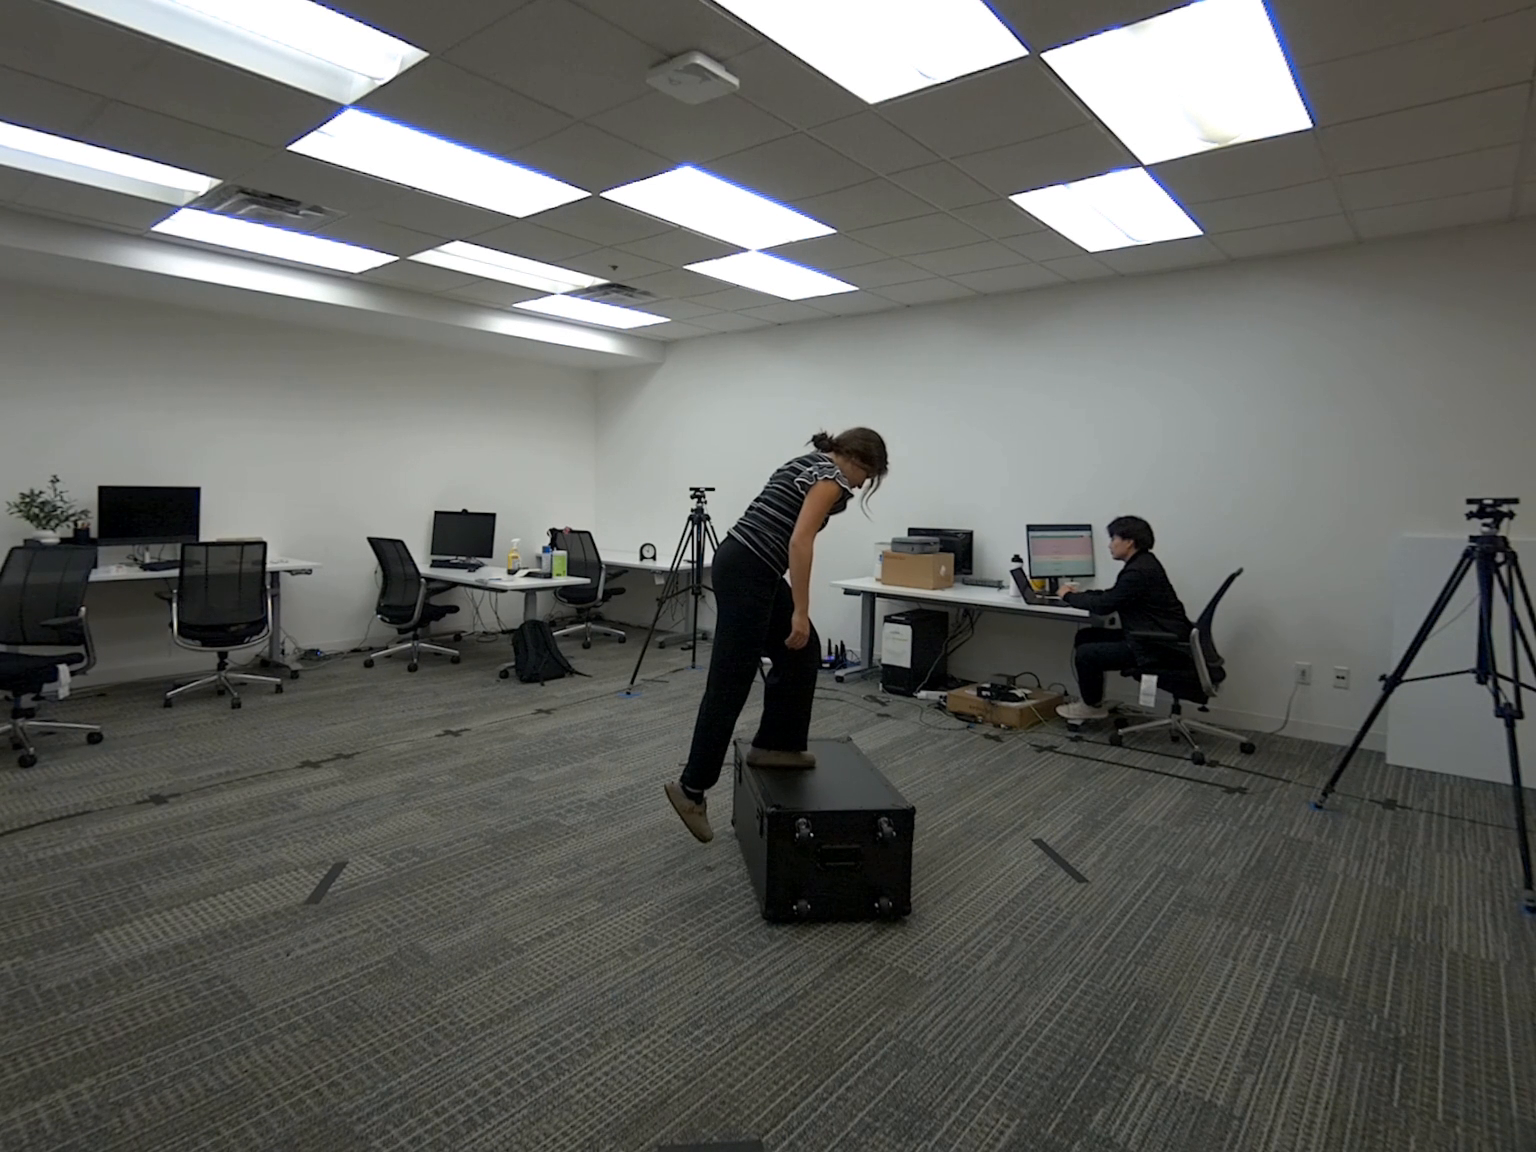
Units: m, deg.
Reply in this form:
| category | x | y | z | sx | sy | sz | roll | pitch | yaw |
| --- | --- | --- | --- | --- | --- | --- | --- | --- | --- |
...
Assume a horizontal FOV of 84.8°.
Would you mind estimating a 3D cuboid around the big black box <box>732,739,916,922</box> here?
| category | x | y | z | sx | sy | sz | roll | pitch | yaw |
| --- | --- | --- | --- | --- | --- | --- | --- | --- | --- |
| big black box | 0.159 | 0.885 | 3.065 | 0.516 | 0.395 | 0.873 | 0 | 5 | -10 |
